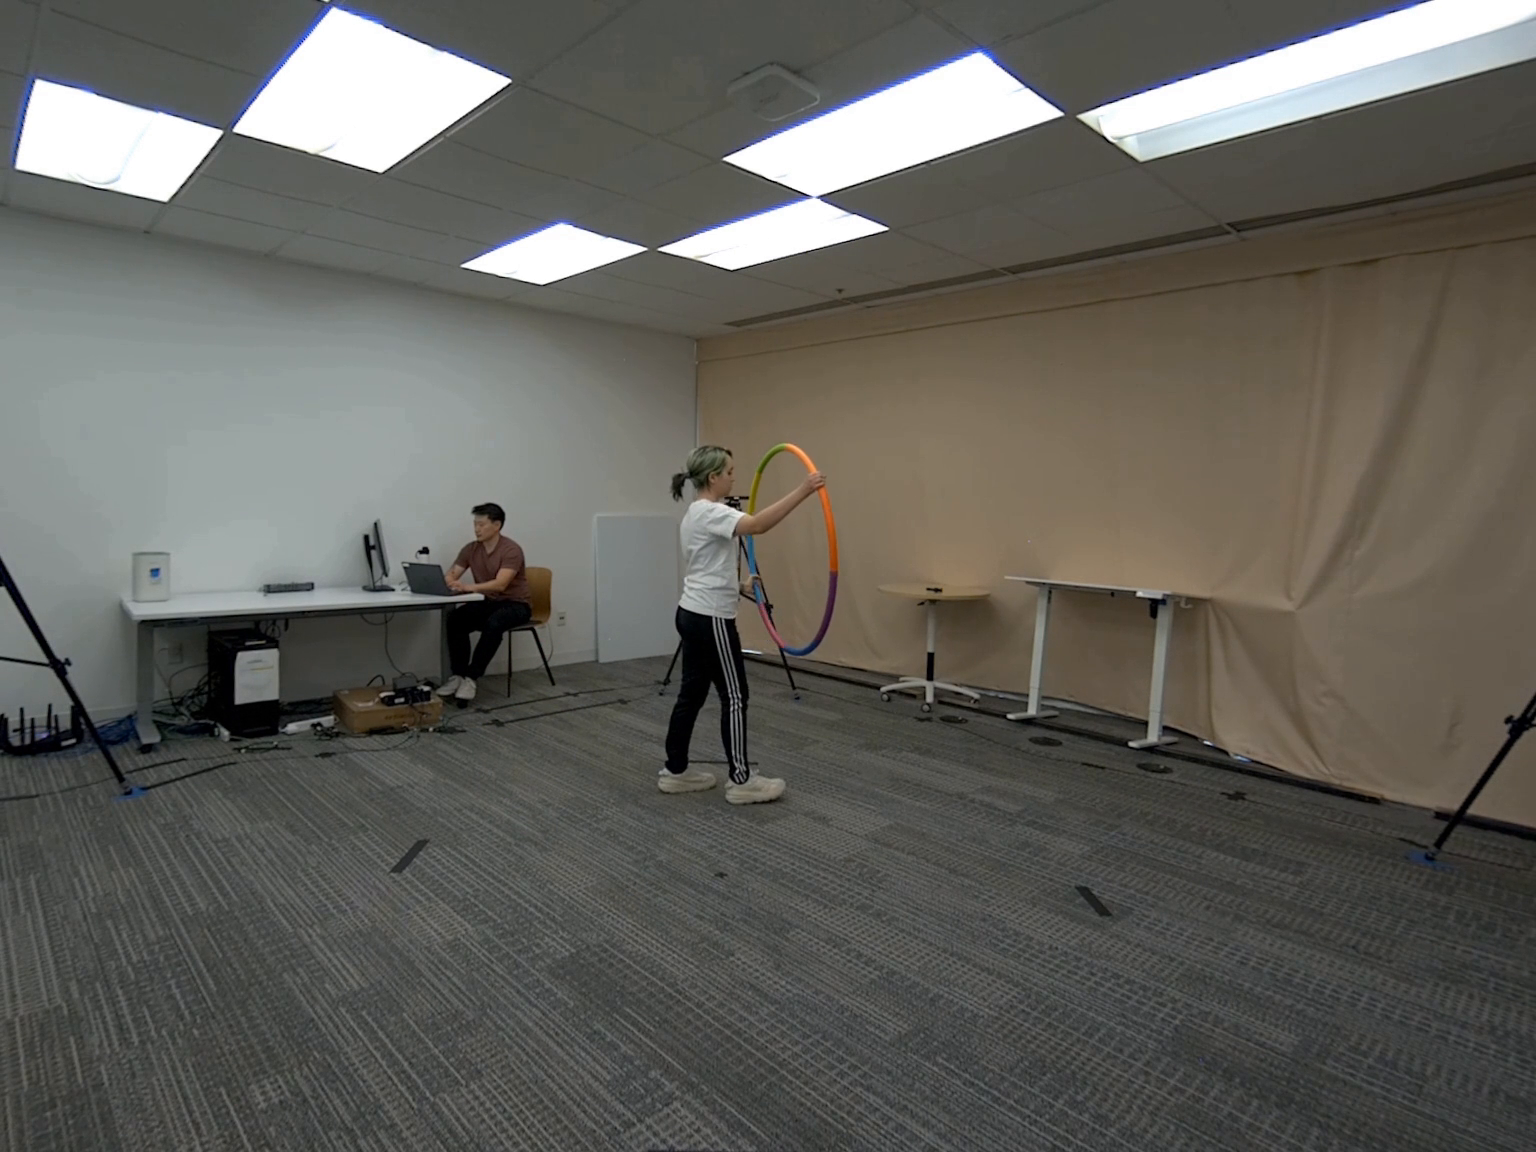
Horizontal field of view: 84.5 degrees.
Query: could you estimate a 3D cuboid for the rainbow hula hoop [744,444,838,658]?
[{"bbox_3d":[0.082,-0.117,3.898,0.035,0.975,0.997,-4,6,-22],"label":"rainbow hula hoop"}]
